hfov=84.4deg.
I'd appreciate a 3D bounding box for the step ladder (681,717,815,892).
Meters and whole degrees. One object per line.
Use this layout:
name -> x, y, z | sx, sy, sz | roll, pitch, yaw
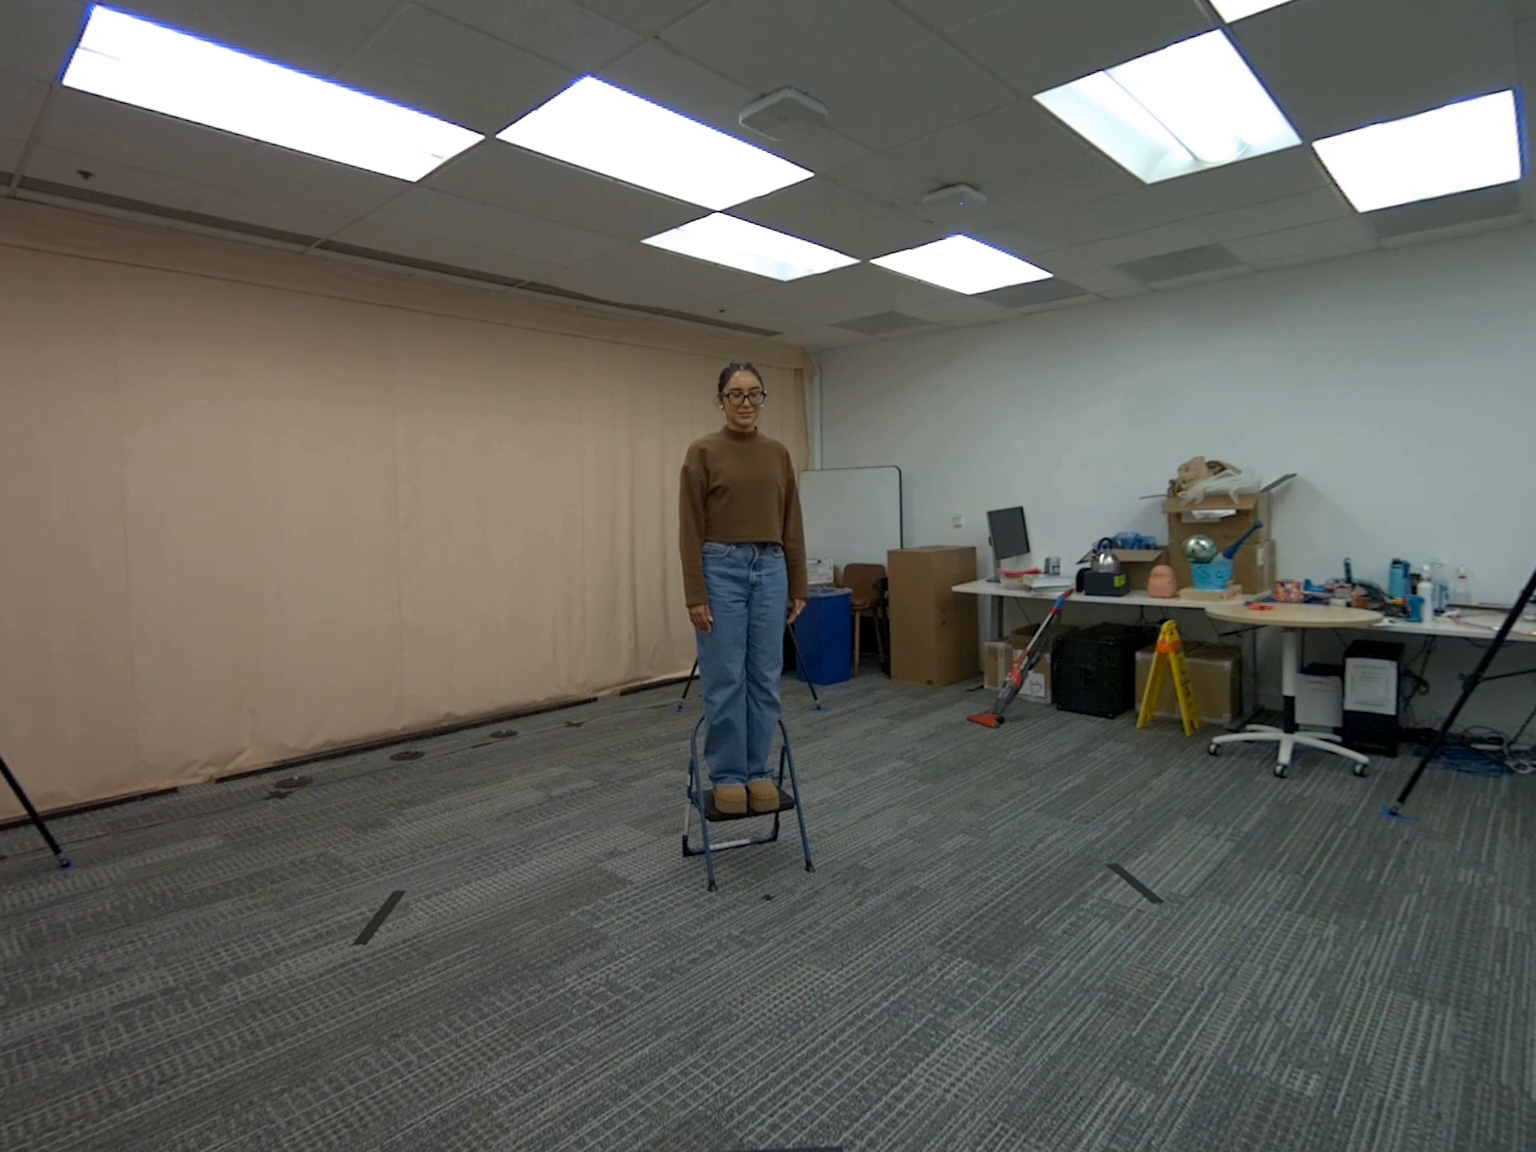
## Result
step ladder -> -0.090, 0.818, 3.262 | 0.421, 0.605, 0.358 | -3, 4, -23
